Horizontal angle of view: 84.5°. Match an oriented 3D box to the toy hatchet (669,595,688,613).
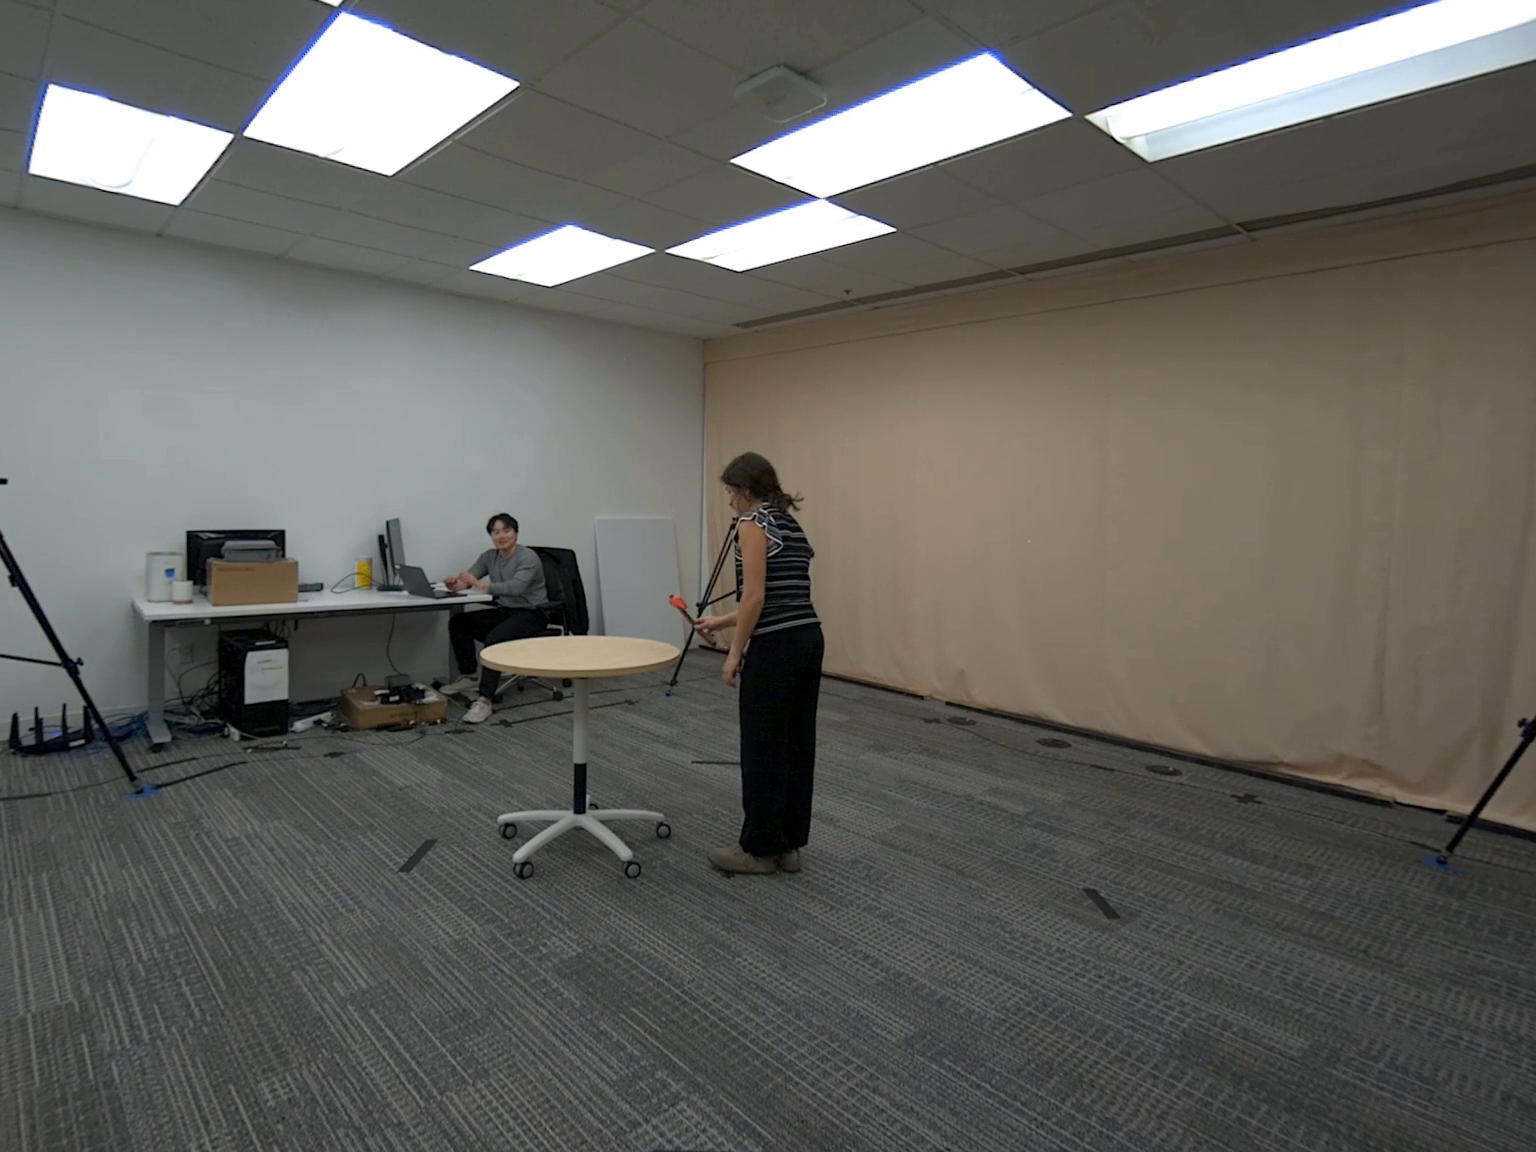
[{"bbox_3d":[-0.312,0.181,3.411,0.029,0.275,0.129,-40,-17,-29],"label":"toy hatchet"}]
